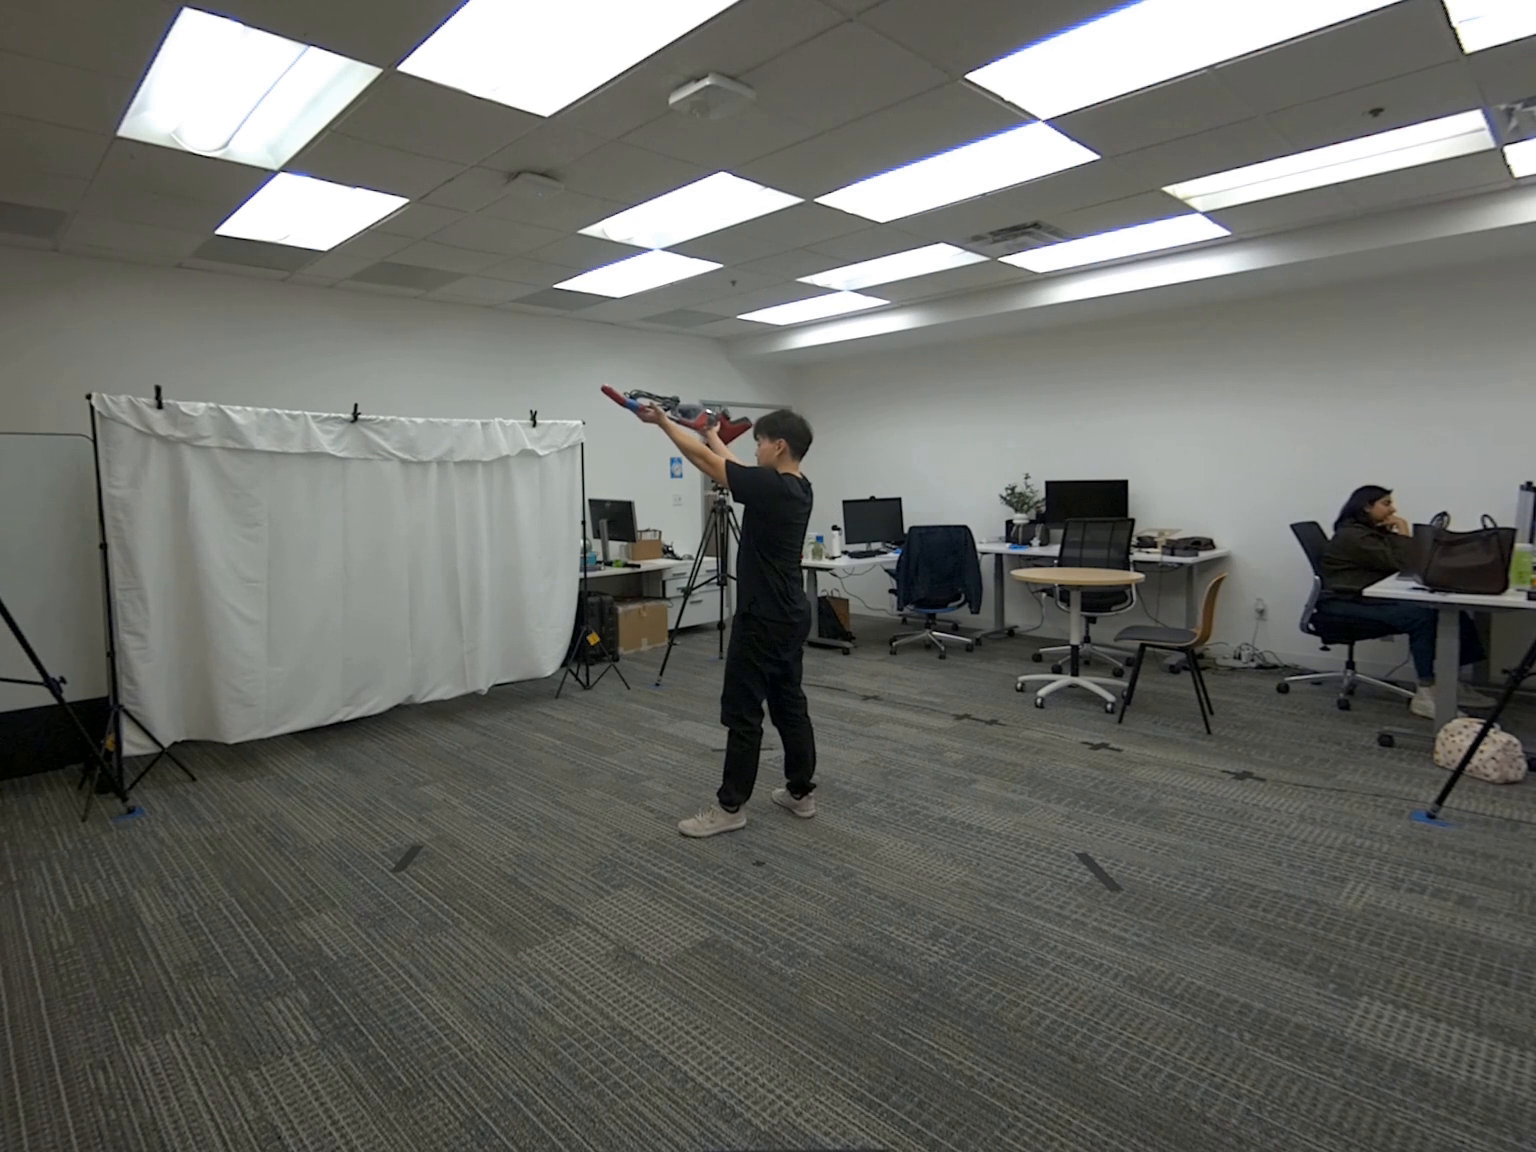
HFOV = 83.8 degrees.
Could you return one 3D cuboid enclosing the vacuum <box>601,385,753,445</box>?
[{"bbox_3d":[-0.394,-0.685,3.531,0.254,0.146,1.026,-34,-12,18],"label":"vacuum"}]
